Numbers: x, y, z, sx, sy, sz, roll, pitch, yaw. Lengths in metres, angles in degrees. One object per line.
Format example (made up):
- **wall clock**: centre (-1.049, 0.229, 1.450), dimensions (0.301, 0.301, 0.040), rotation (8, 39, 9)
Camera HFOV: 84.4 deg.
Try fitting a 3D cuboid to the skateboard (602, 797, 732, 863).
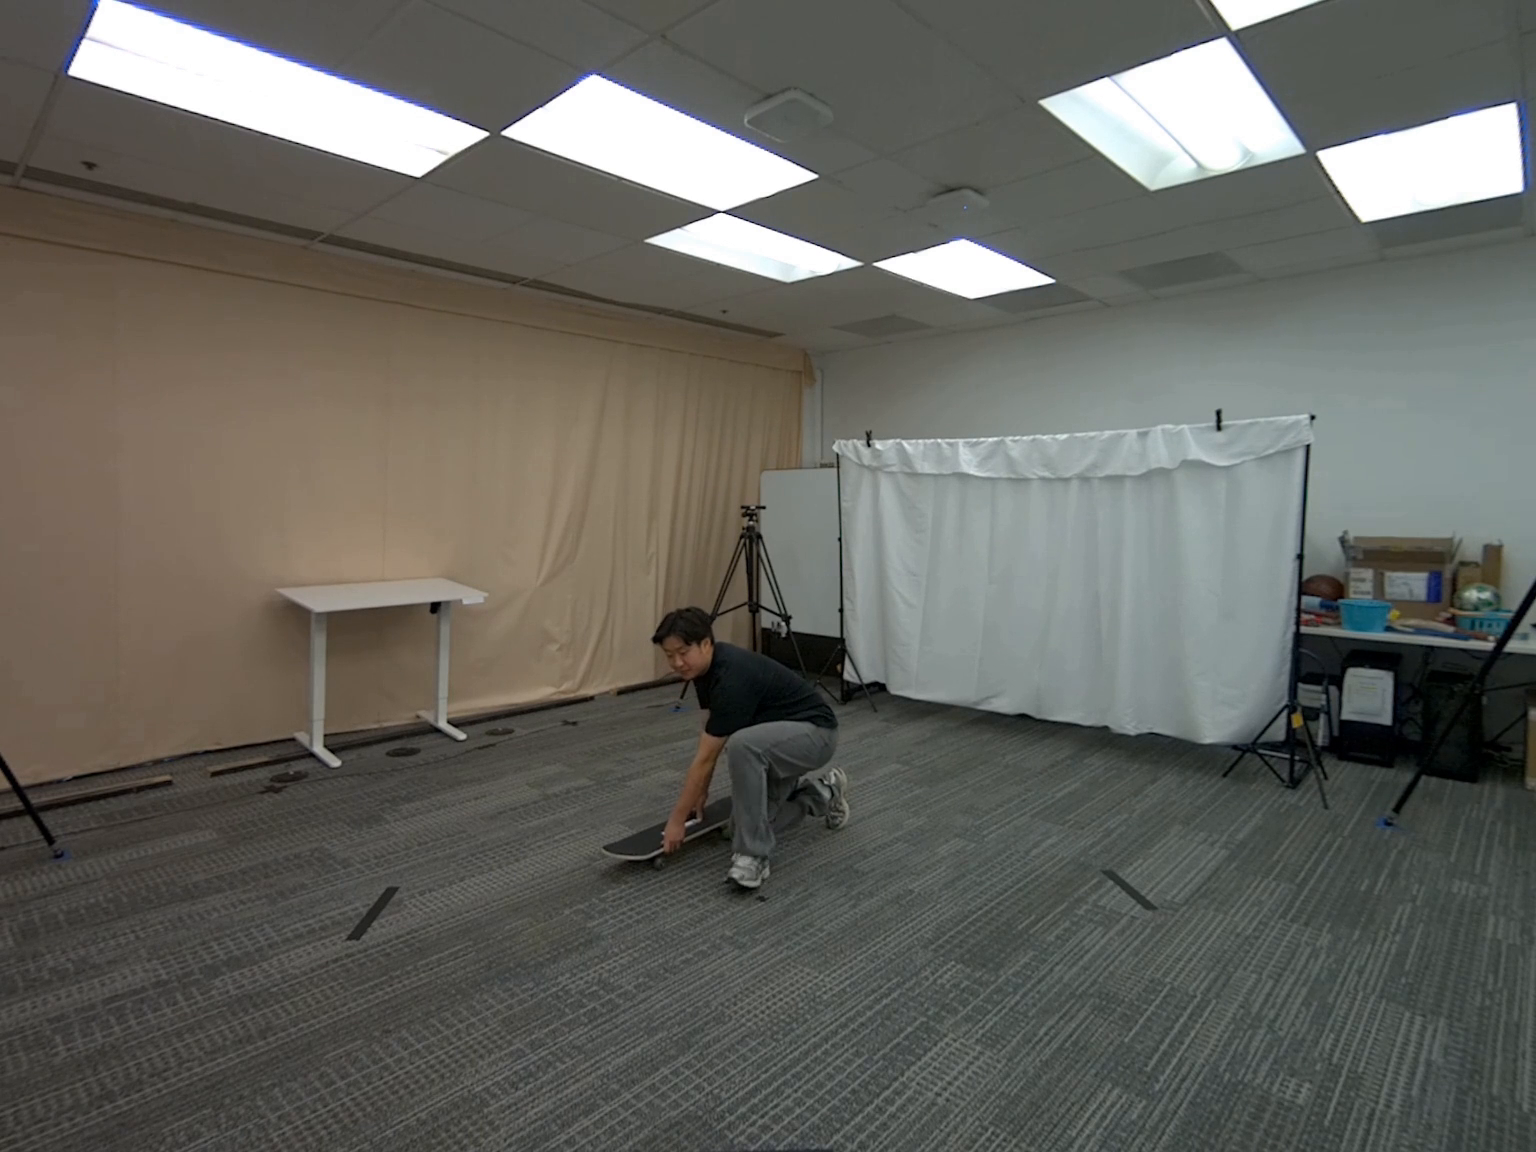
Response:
- **skateboard**: centre (-0.352, 1.053, 3.408), dimensions (0.200, 0.110, 0.762), rotation (1, 5, 41)
